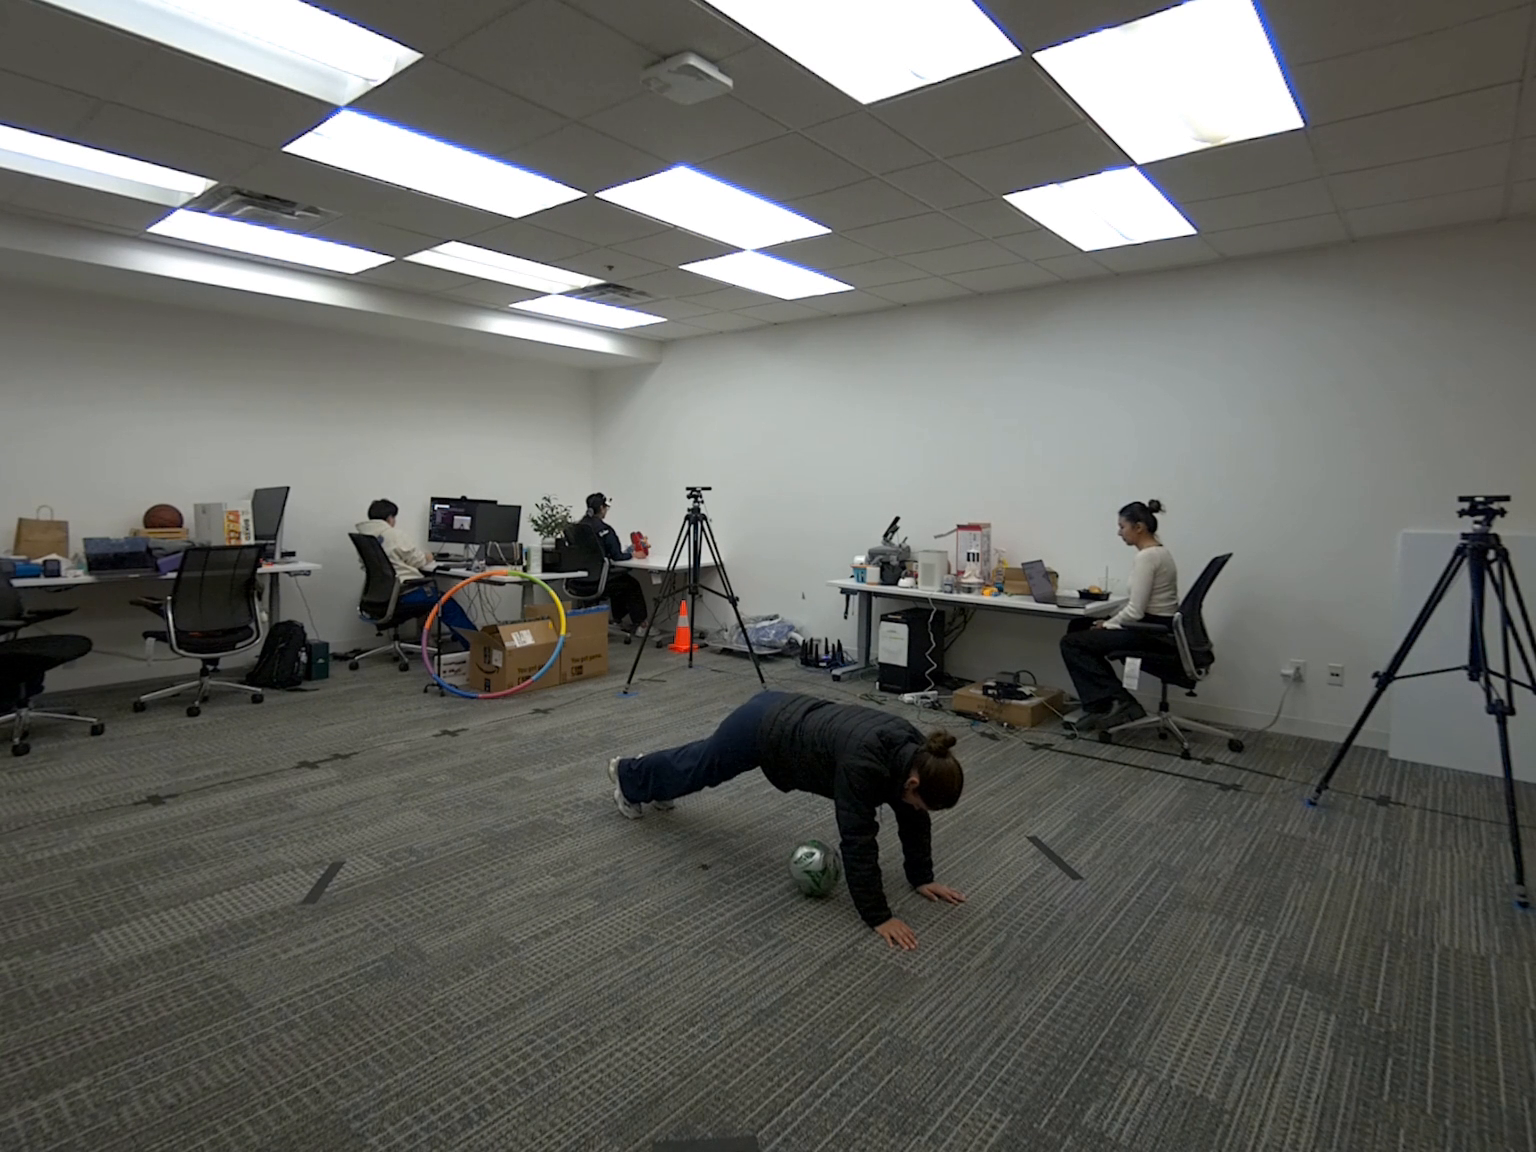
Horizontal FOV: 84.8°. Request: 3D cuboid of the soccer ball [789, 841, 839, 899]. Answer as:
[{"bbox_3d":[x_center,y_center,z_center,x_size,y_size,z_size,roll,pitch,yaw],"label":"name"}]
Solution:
[{"bbox_3d":[0.157,1.001,2.934,0.187,0.187,0.188,1,4,-2],"label":"soccer ball"}]
